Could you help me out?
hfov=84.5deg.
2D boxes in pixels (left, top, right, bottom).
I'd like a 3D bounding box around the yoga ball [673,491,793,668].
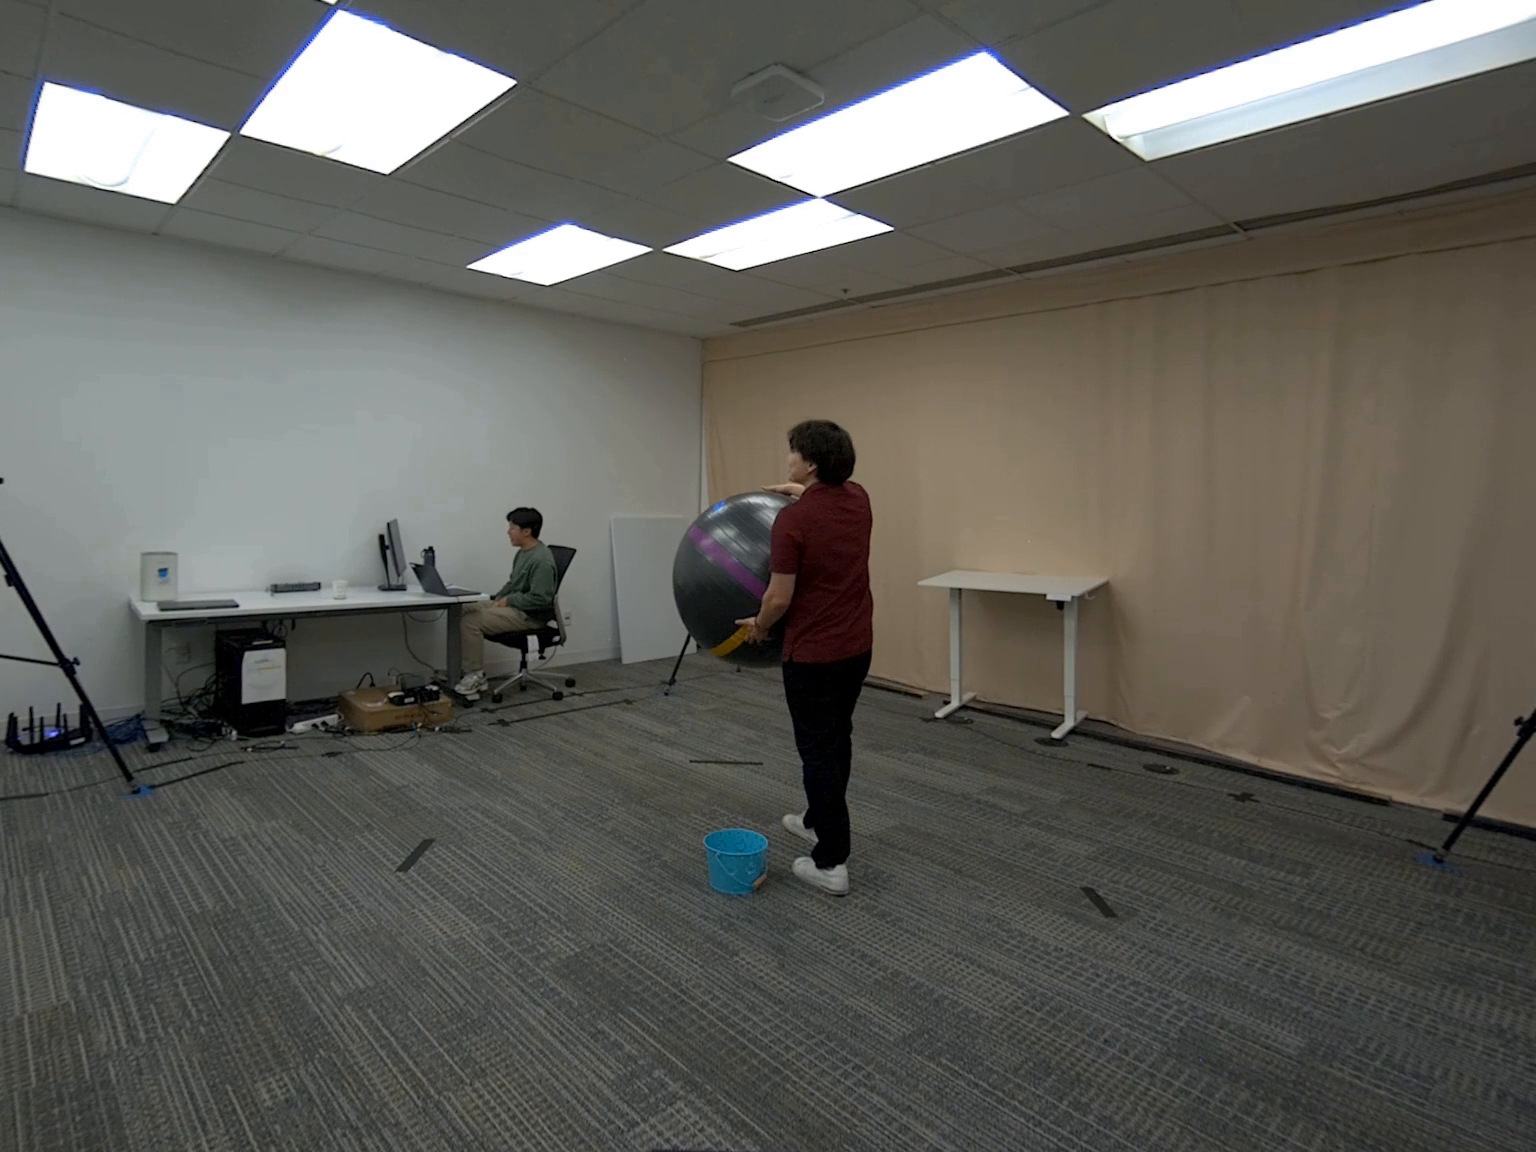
[{"bbox_3d":[-0.033,0.013,3.641,0.757,0.756,0.761,1,4,-1],"label":"yoga ball"}]
